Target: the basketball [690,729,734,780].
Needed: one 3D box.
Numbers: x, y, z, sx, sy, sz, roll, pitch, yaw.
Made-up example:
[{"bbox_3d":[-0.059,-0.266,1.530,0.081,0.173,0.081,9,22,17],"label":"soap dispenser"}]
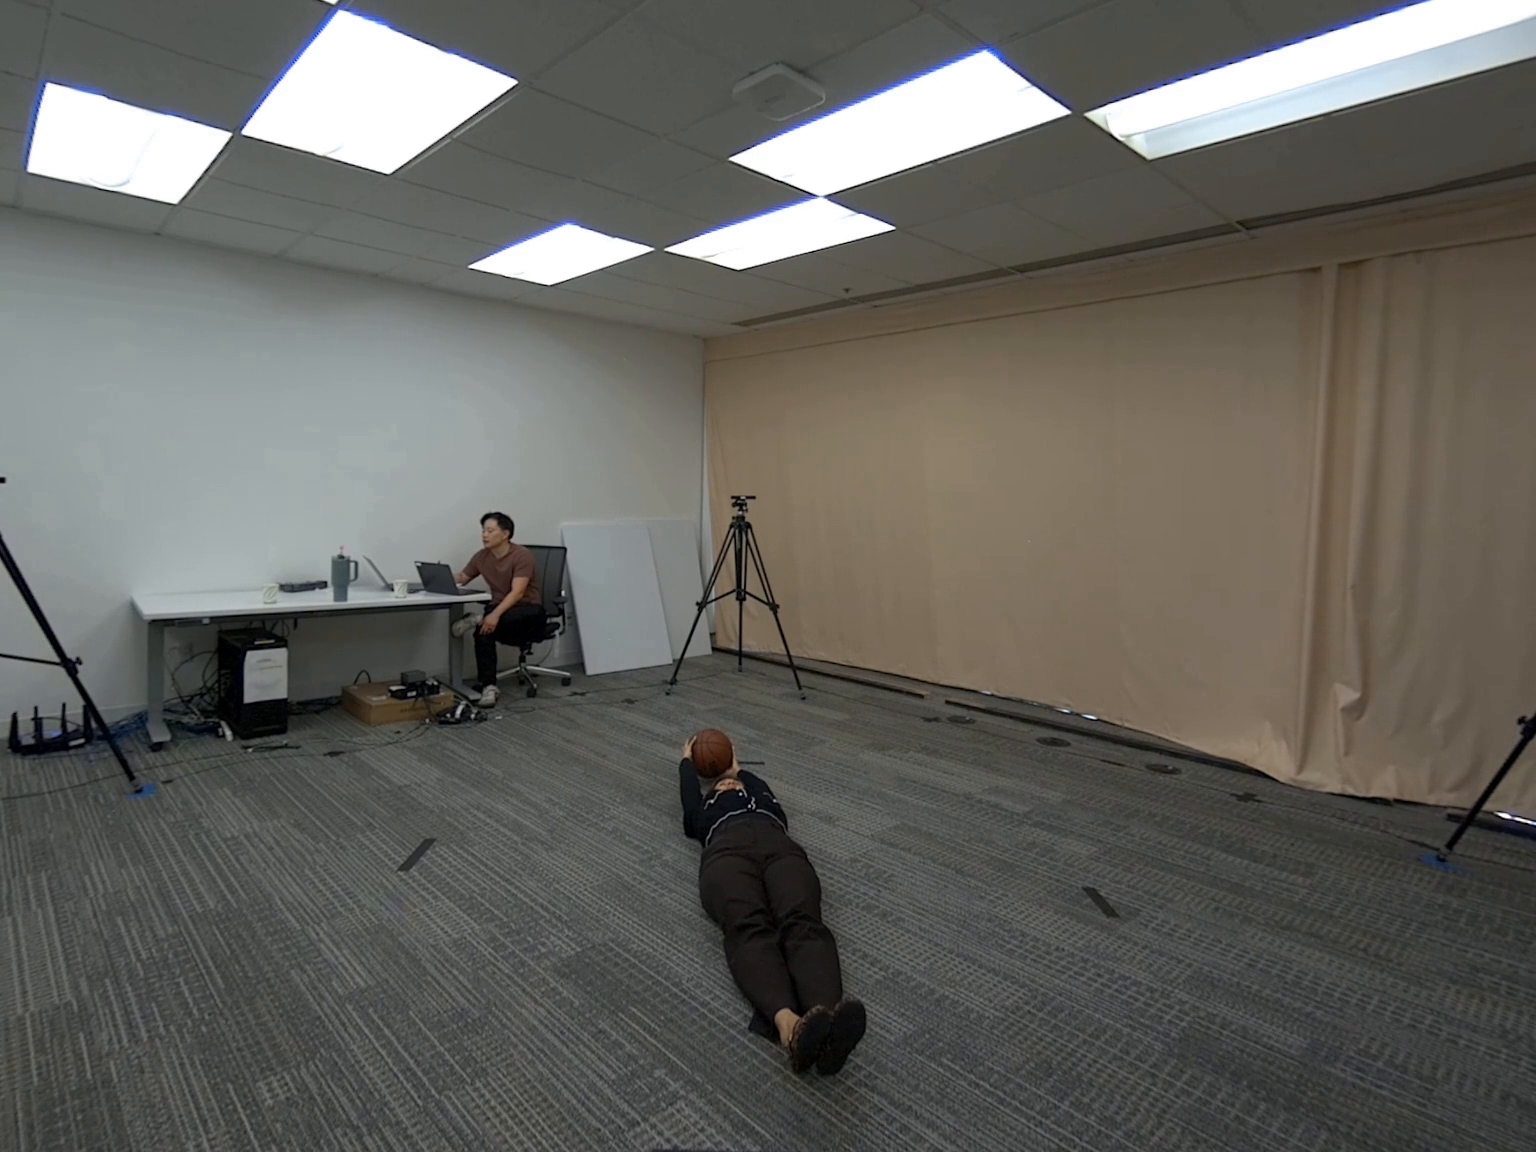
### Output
[{"bbox_3d":[-0.300,0.870,4.137,0.236,0.235,0.237,1,4,-1],"label":"basketball"}]
